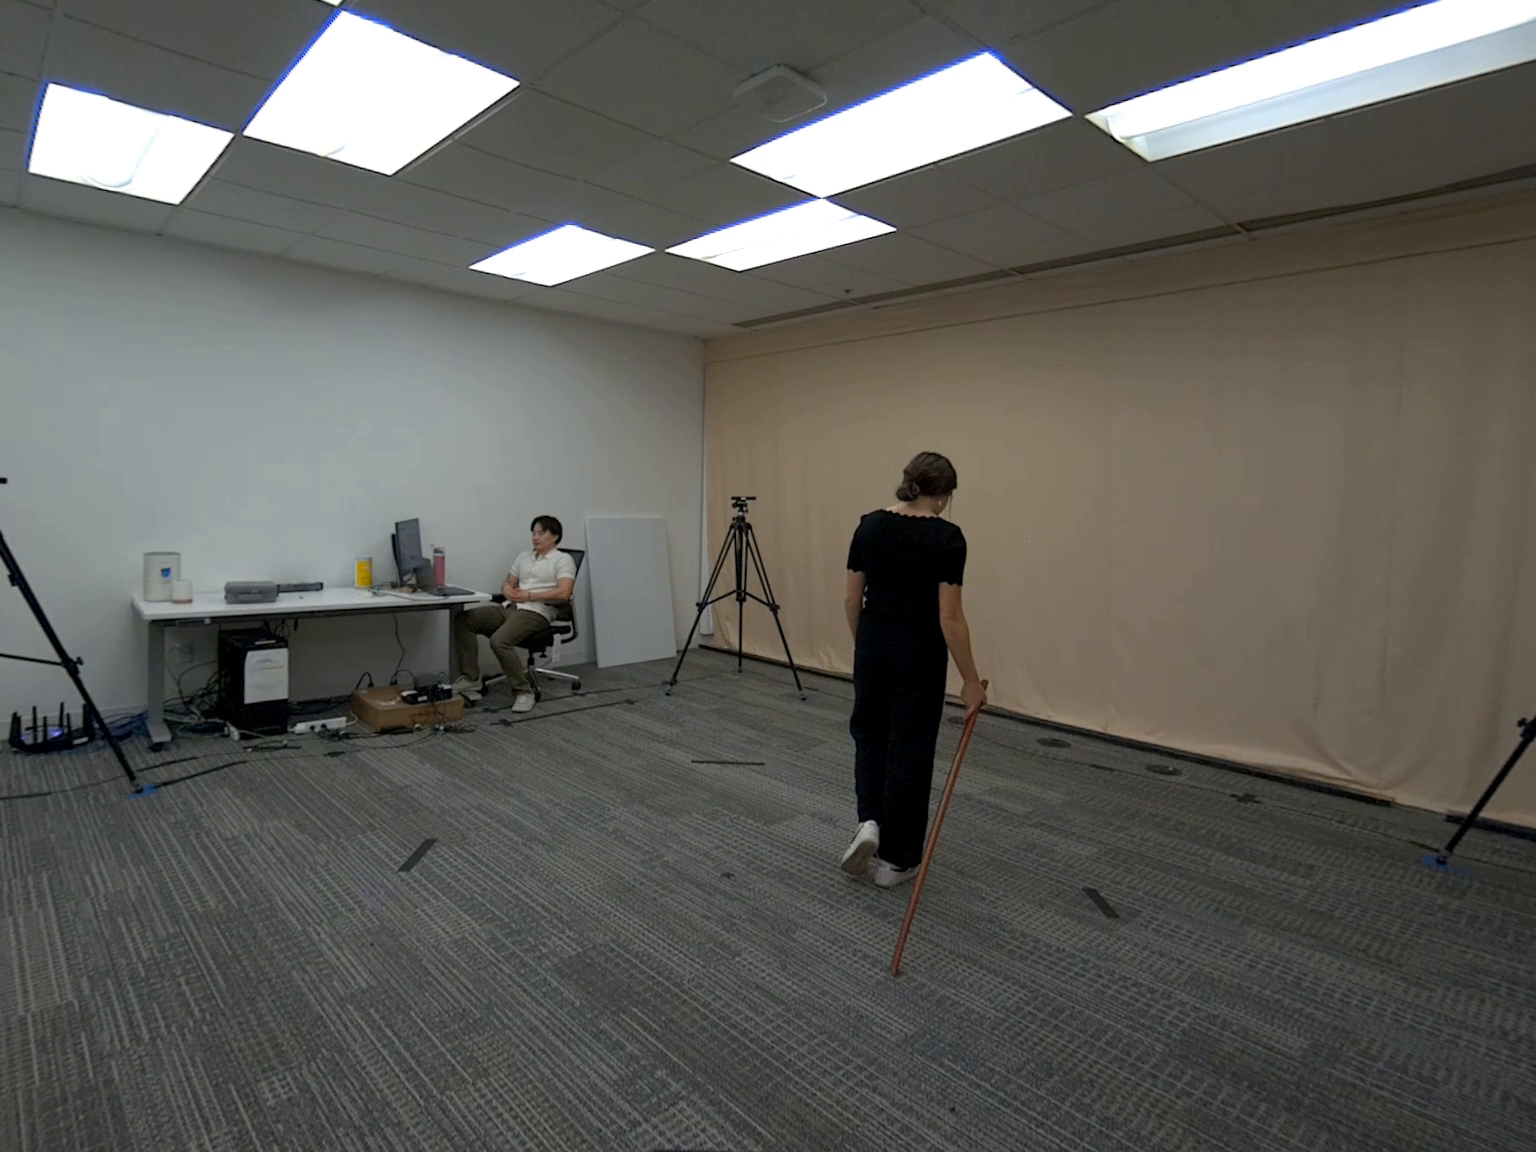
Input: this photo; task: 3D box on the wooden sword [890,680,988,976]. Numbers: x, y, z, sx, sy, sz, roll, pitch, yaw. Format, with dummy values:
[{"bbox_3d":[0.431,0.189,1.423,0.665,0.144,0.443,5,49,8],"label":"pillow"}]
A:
[{"bbox_3d":[0.555,0.789,2.741,0.052,1.031,0.023,8,-37,31],"label":"wooden sword"}]
